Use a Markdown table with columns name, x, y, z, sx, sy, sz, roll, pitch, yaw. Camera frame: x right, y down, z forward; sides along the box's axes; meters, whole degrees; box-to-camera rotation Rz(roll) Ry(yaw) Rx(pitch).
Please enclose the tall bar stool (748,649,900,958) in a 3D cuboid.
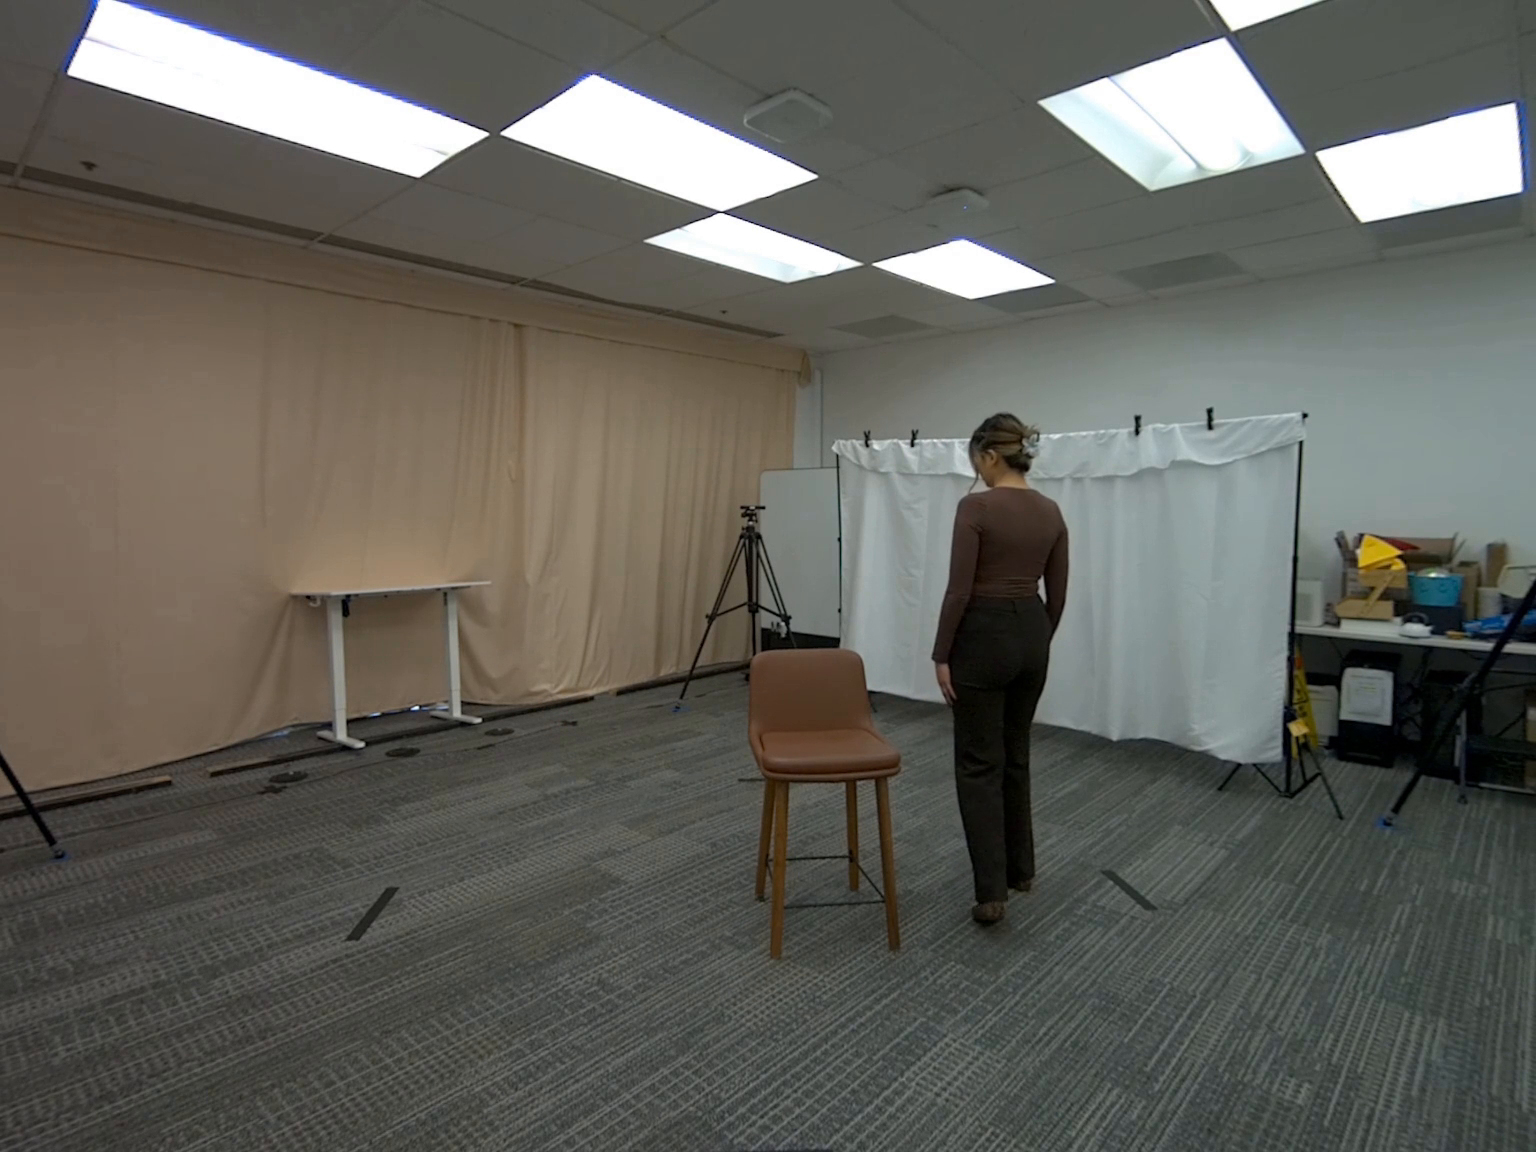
| name | x | y | z | sx | sy | sz | roll | pitch | yaw |
| --- | --- | --- | --- | --- | --- | --- | --- | --- | --- |
| tall bar stool | 0.183 | 0.724 | 2.808 | 0.453 | 0.889 | 0.472 | 0 | 2 | -9 |
